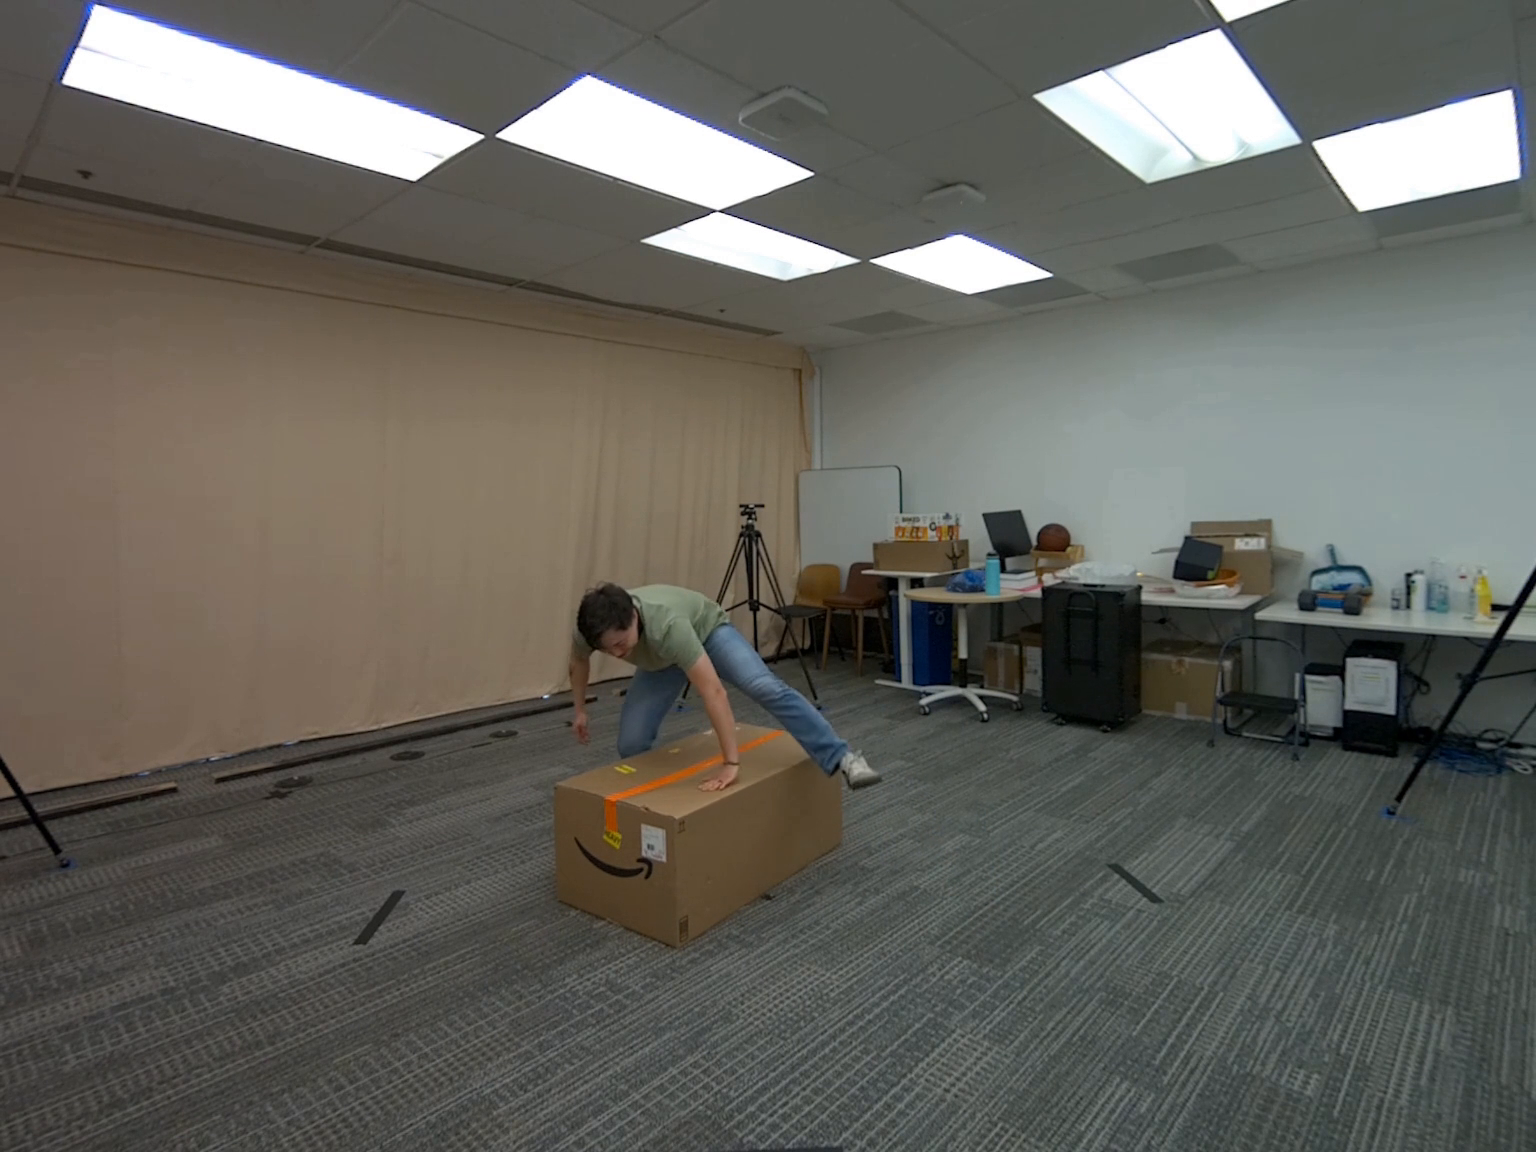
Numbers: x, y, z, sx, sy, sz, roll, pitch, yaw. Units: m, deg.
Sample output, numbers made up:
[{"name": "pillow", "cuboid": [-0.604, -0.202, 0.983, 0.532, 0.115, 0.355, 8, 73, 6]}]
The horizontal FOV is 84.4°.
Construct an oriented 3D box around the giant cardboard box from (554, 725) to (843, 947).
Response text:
[{"name": "giant cardboard box", "cuboid": [-0.225, 0.913, 3.203, 0.596, 0.425, 0.996, 1, 6, 36]}]
